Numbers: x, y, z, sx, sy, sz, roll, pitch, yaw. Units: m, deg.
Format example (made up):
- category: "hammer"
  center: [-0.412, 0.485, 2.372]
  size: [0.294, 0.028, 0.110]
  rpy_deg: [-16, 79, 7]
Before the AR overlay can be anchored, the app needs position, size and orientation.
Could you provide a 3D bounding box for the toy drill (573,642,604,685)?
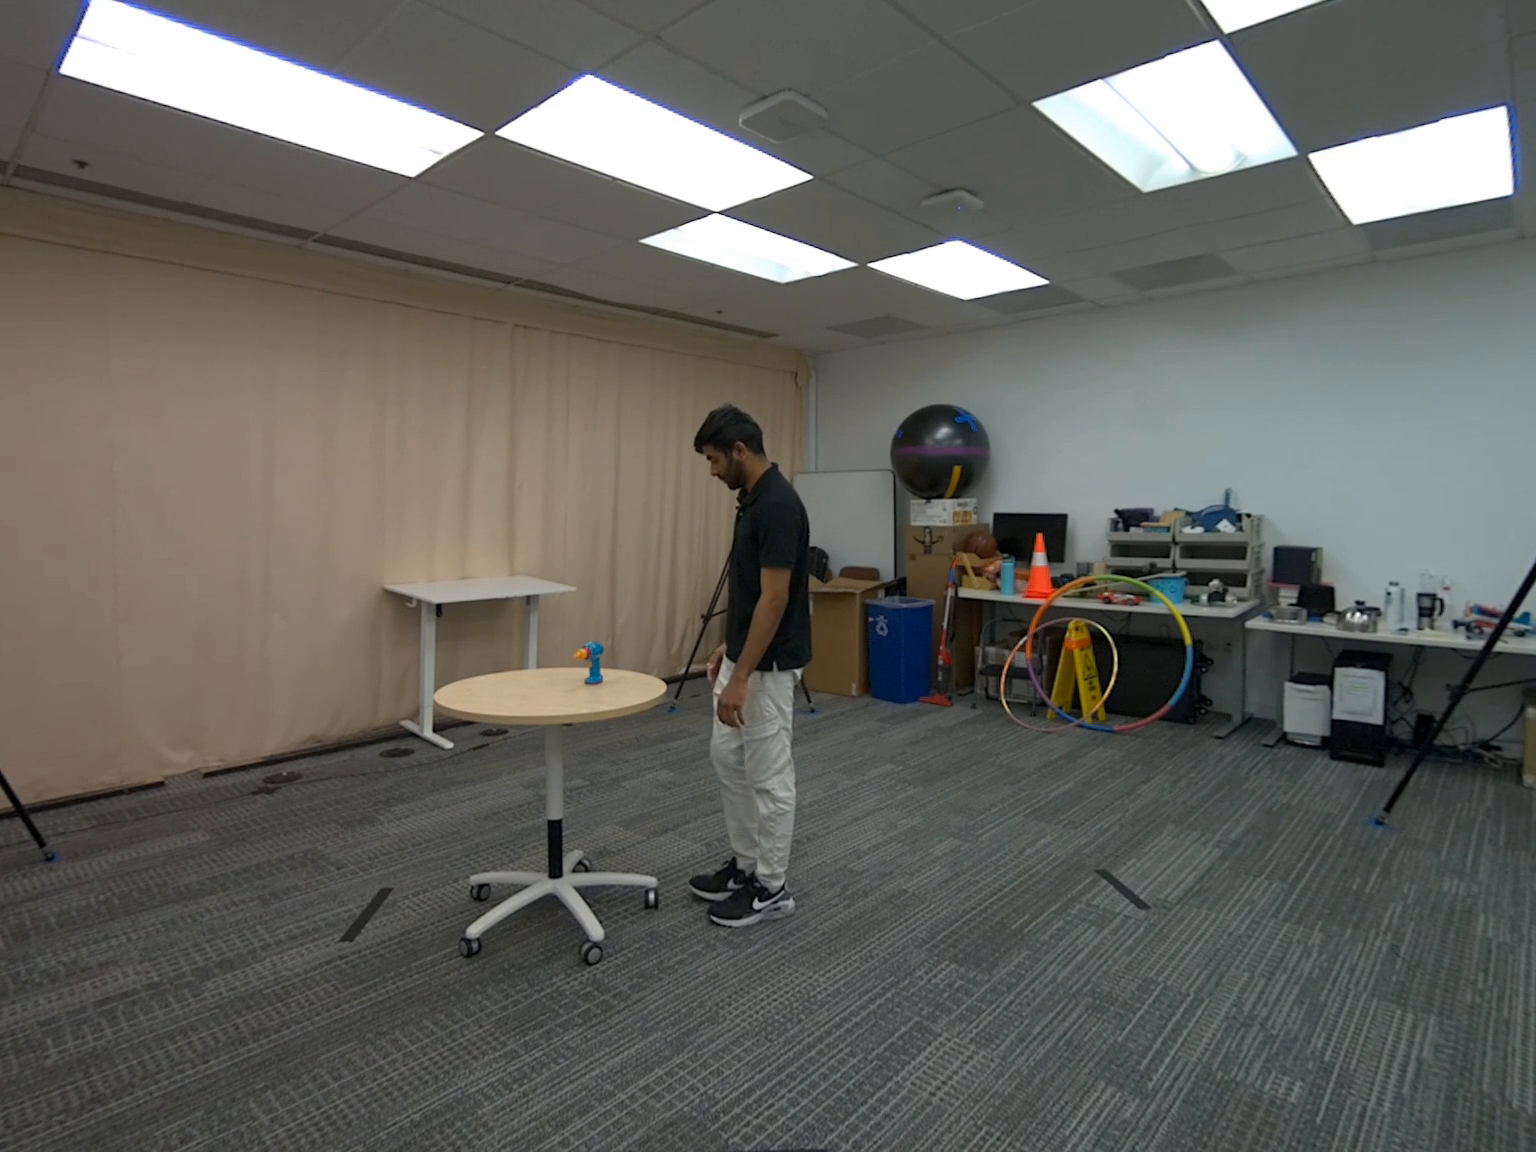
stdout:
- category: "toy drill"
  center: [-0.617, 0.303, 2.896]
  size: [0.062, 0.146, 0.166]
  rpy_deg: [1, 3, 18]
